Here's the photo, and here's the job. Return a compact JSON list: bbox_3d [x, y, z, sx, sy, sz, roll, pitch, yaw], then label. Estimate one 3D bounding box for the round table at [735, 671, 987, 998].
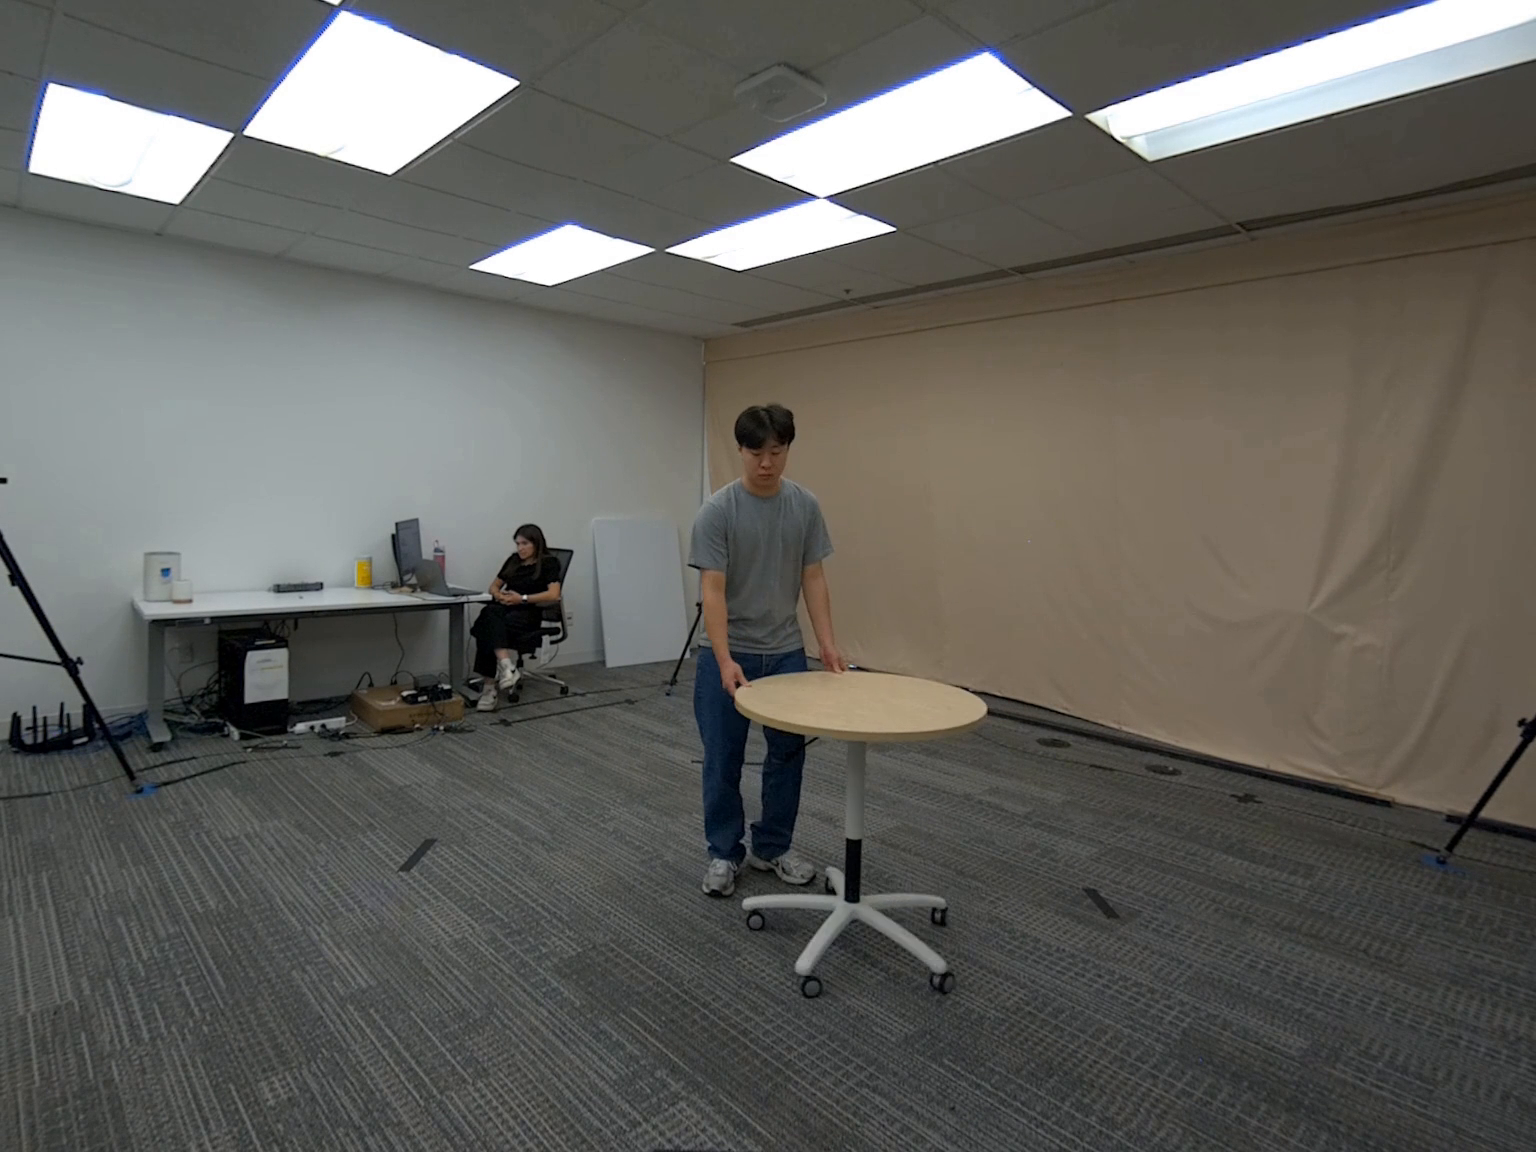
[{"bbox_3d":[0.264,0.770,2.628,0.763,0.791,0.767,1,5,-1],"label":"round table"}]
